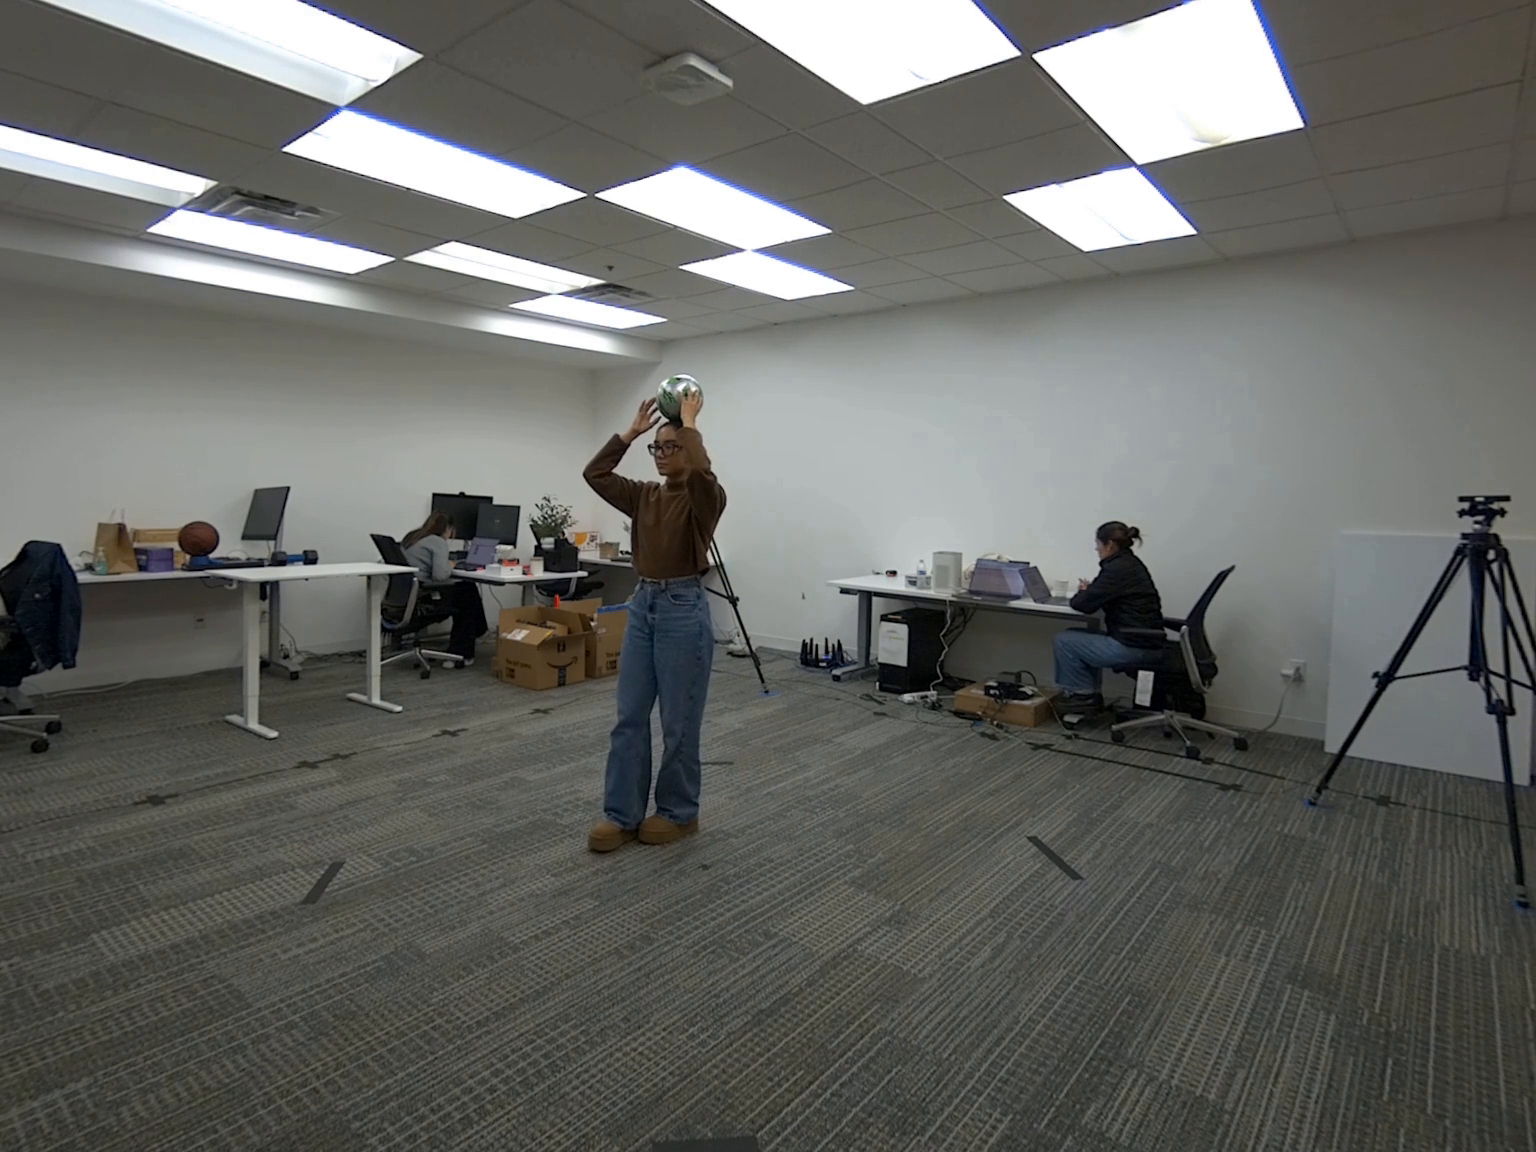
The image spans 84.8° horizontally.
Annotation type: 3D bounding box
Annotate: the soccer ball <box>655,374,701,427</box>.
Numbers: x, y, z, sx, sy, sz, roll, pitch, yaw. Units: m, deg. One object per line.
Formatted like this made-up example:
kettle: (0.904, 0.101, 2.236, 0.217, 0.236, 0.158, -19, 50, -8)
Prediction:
soccer ball: (-0.358, -0.701, 3.344, 0.187, 0.187, 0.188, 1, 4, -2)
